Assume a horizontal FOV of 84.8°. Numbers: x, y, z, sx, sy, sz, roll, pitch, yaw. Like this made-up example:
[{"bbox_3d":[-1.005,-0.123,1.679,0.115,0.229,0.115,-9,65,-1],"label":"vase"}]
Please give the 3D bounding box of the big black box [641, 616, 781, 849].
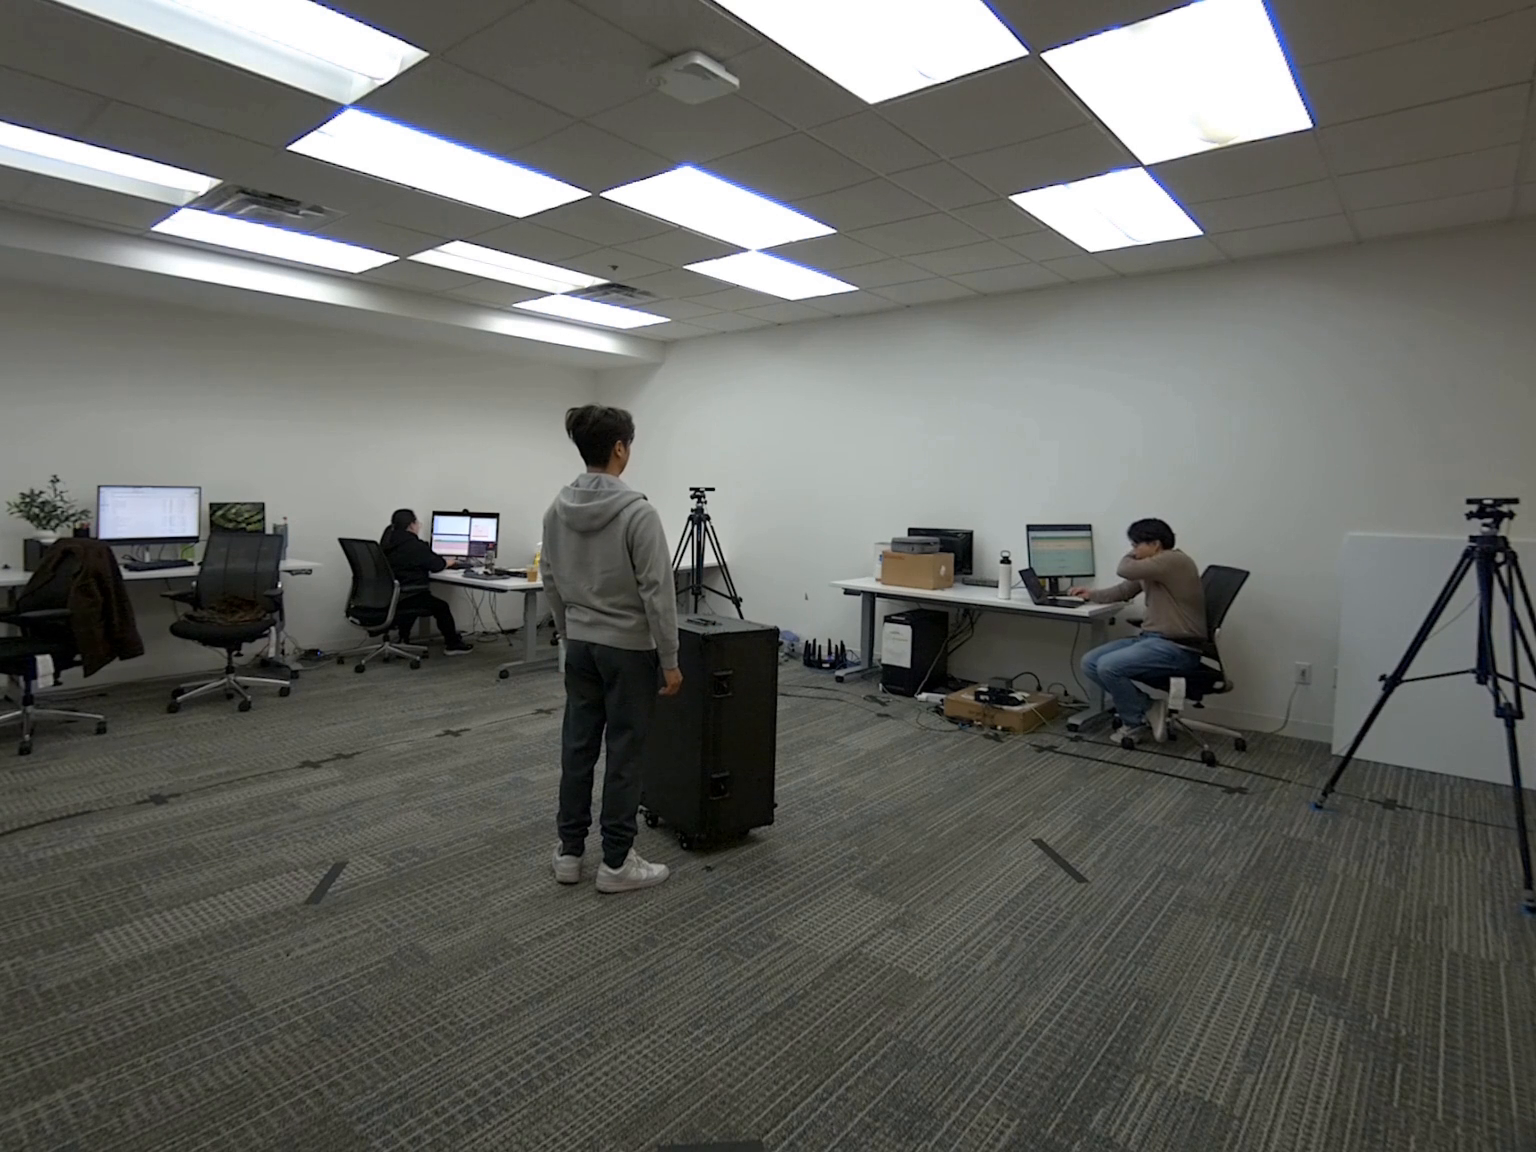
[{"bbox_3d":[-0.252,0.608,3.455,0.384,0.860,0.538,1,3,-36],"label":"big black box"}]
